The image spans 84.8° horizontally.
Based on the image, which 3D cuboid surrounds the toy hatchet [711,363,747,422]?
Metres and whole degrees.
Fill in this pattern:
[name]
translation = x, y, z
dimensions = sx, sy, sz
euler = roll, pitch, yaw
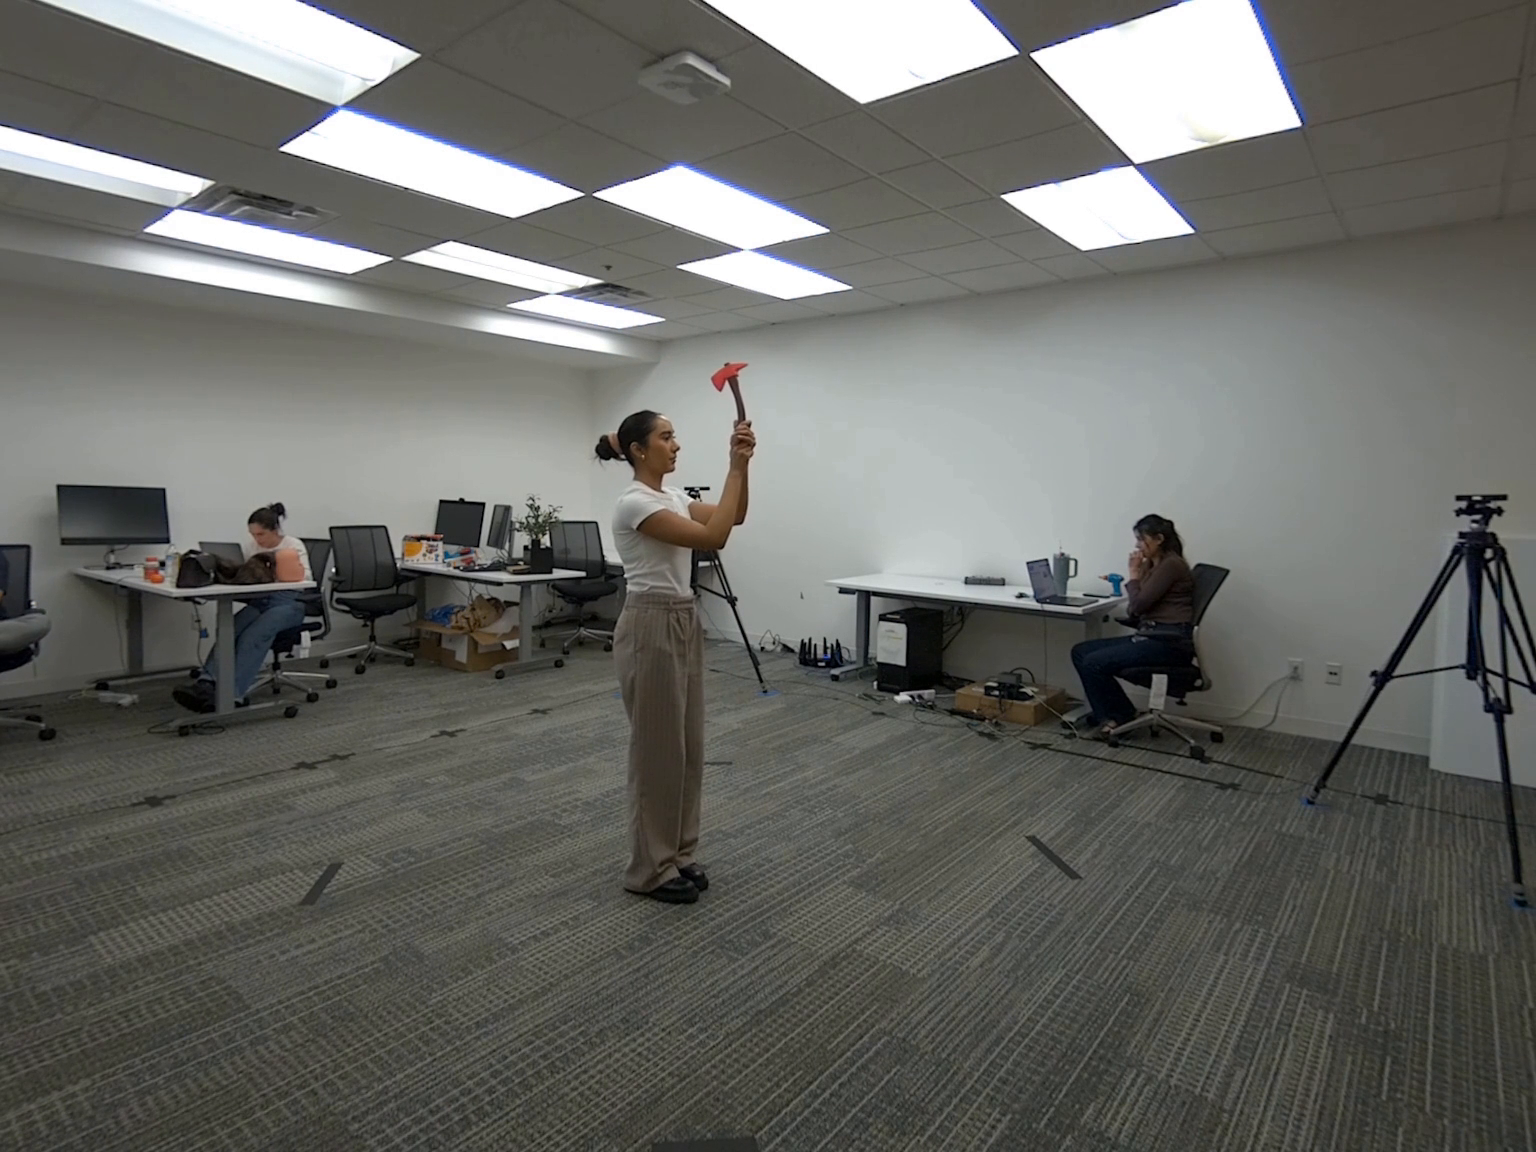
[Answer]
[toy hatchet]
translation = -0.139, -0.577, 2.803
dimensions = 0.133, 0.272, 0.029
euler = -2, -7, 18
